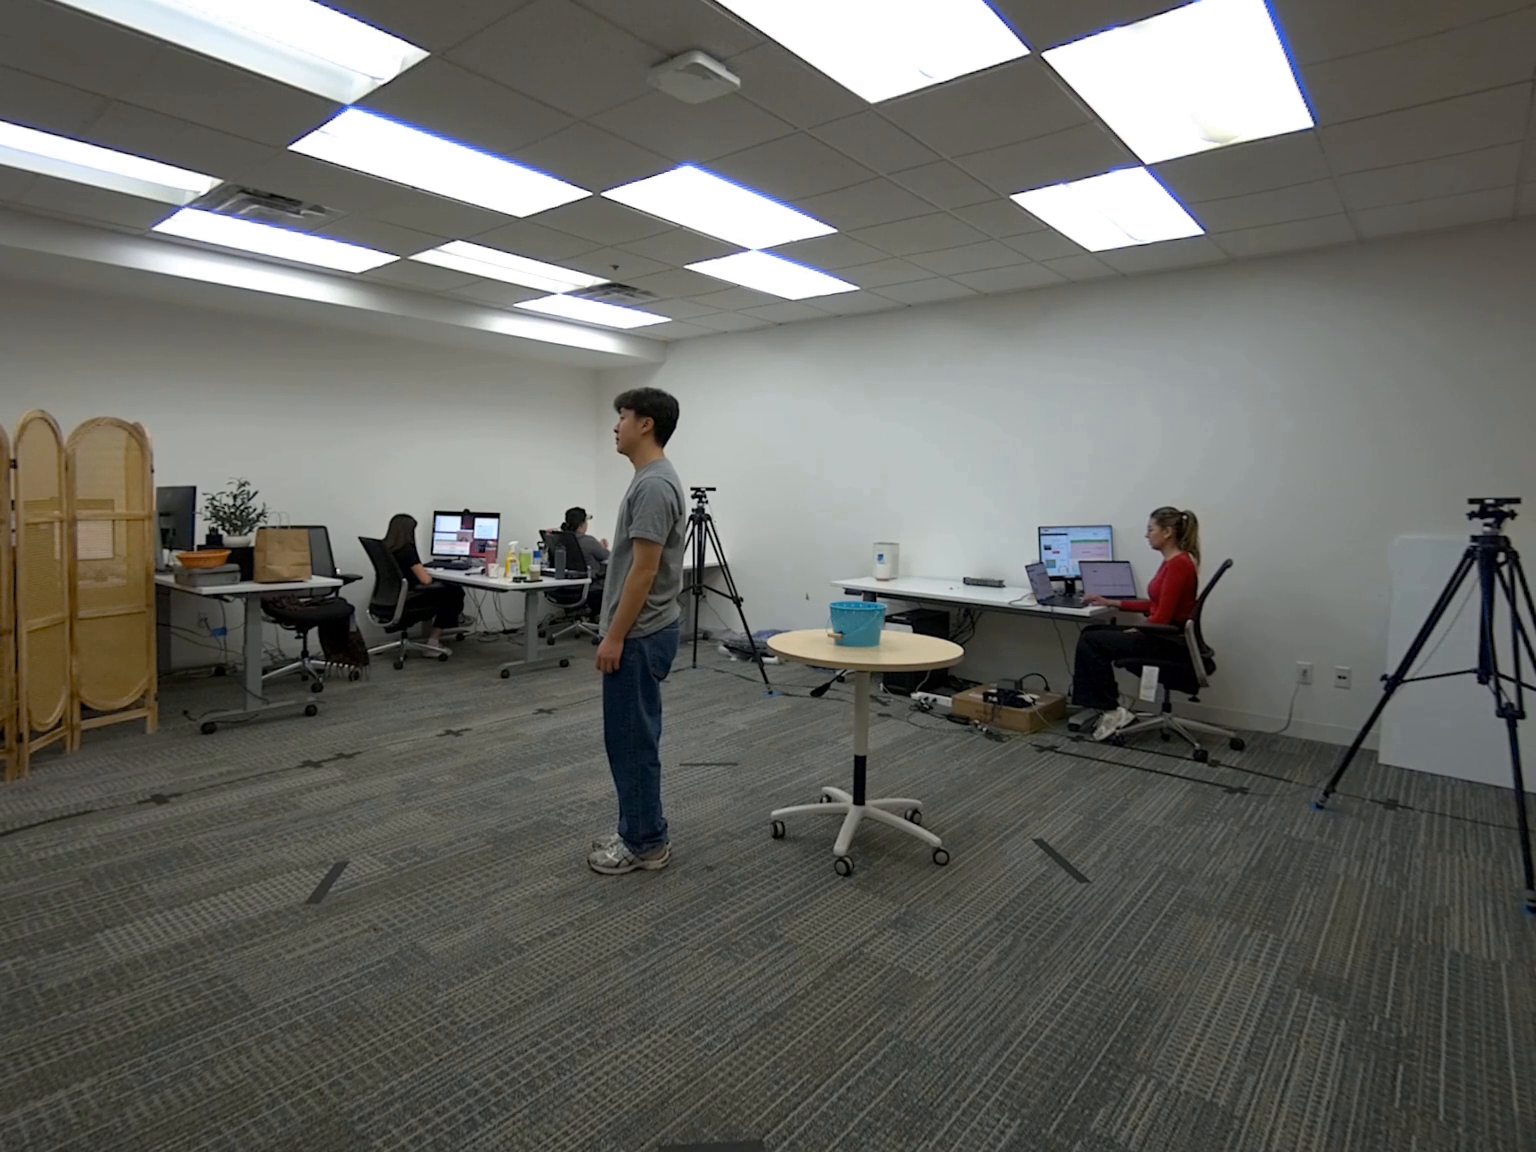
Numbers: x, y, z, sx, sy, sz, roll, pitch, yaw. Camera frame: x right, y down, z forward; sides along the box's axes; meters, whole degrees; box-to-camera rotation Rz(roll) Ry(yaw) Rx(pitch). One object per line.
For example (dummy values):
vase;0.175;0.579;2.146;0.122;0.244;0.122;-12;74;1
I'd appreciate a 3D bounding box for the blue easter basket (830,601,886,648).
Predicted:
blue easter basket;0.344;0.193;3.406;0.243;0.155;0.245;1;4;-2
